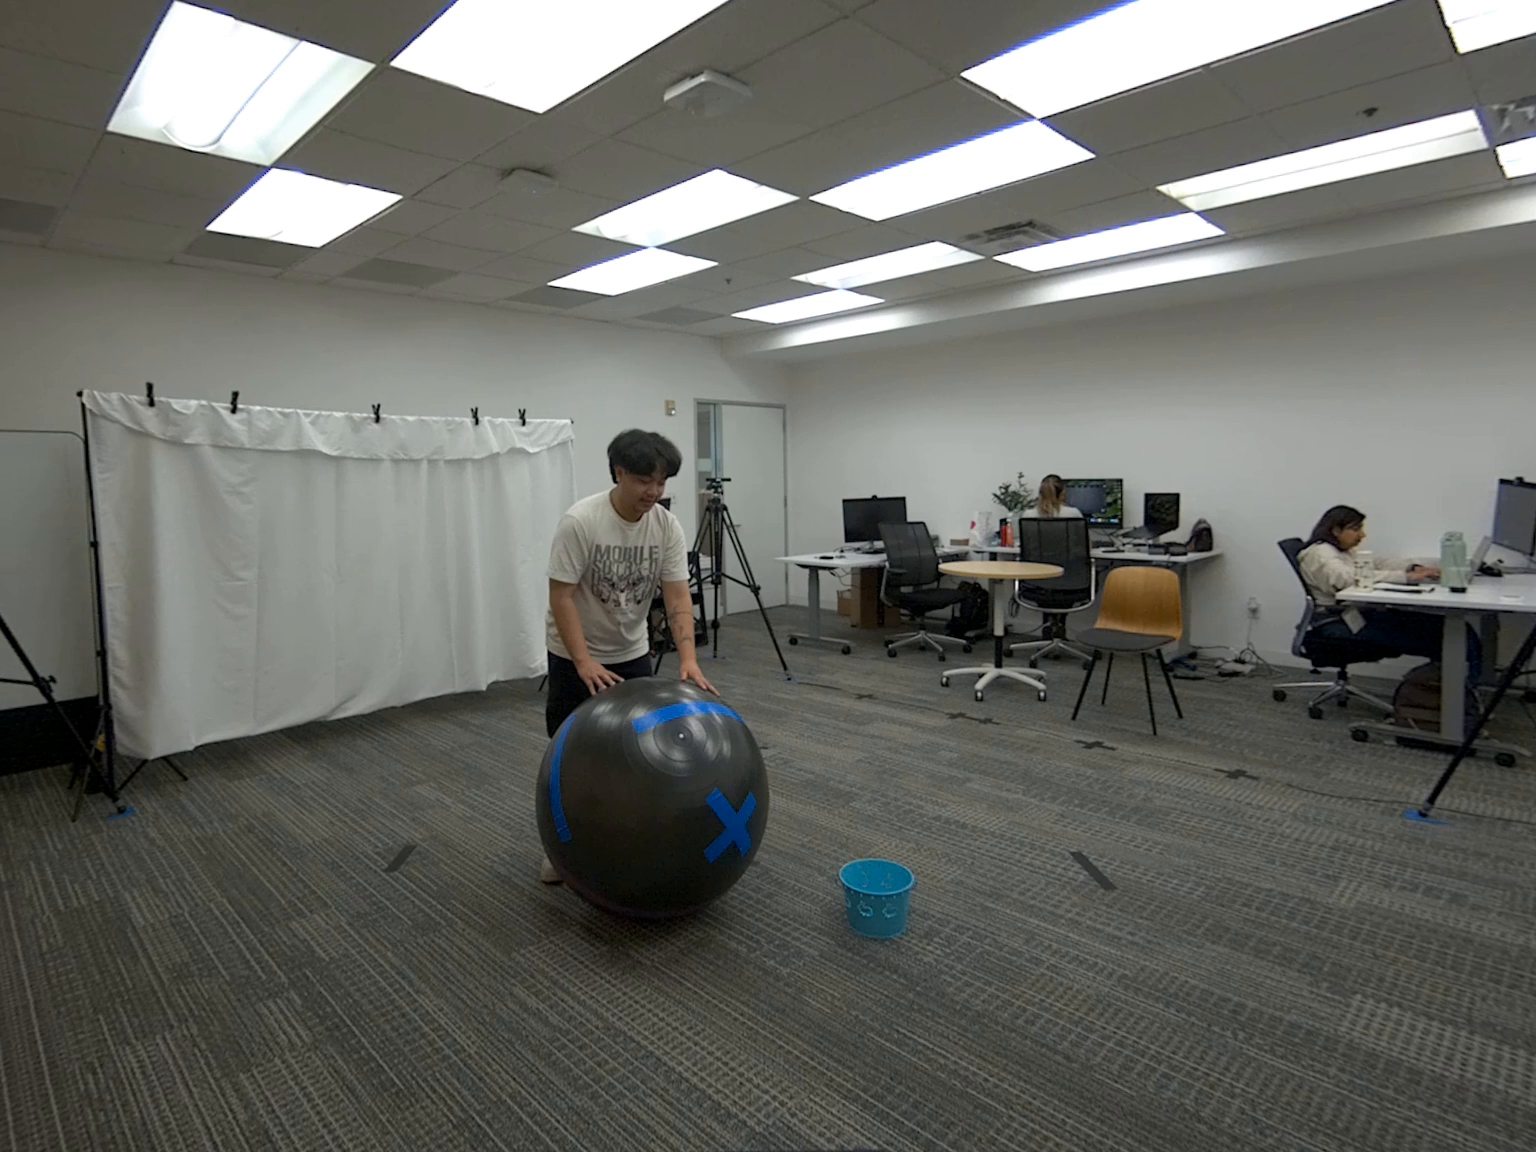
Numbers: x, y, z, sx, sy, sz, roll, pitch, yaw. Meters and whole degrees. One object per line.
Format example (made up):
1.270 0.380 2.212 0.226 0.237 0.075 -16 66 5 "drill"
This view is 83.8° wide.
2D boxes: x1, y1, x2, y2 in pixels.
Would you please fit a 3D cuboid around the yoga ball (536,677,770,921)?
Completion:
-0.375 0.720 2.785 0.757 0.755 0.762 -1 5 -2 "yoga ball"
